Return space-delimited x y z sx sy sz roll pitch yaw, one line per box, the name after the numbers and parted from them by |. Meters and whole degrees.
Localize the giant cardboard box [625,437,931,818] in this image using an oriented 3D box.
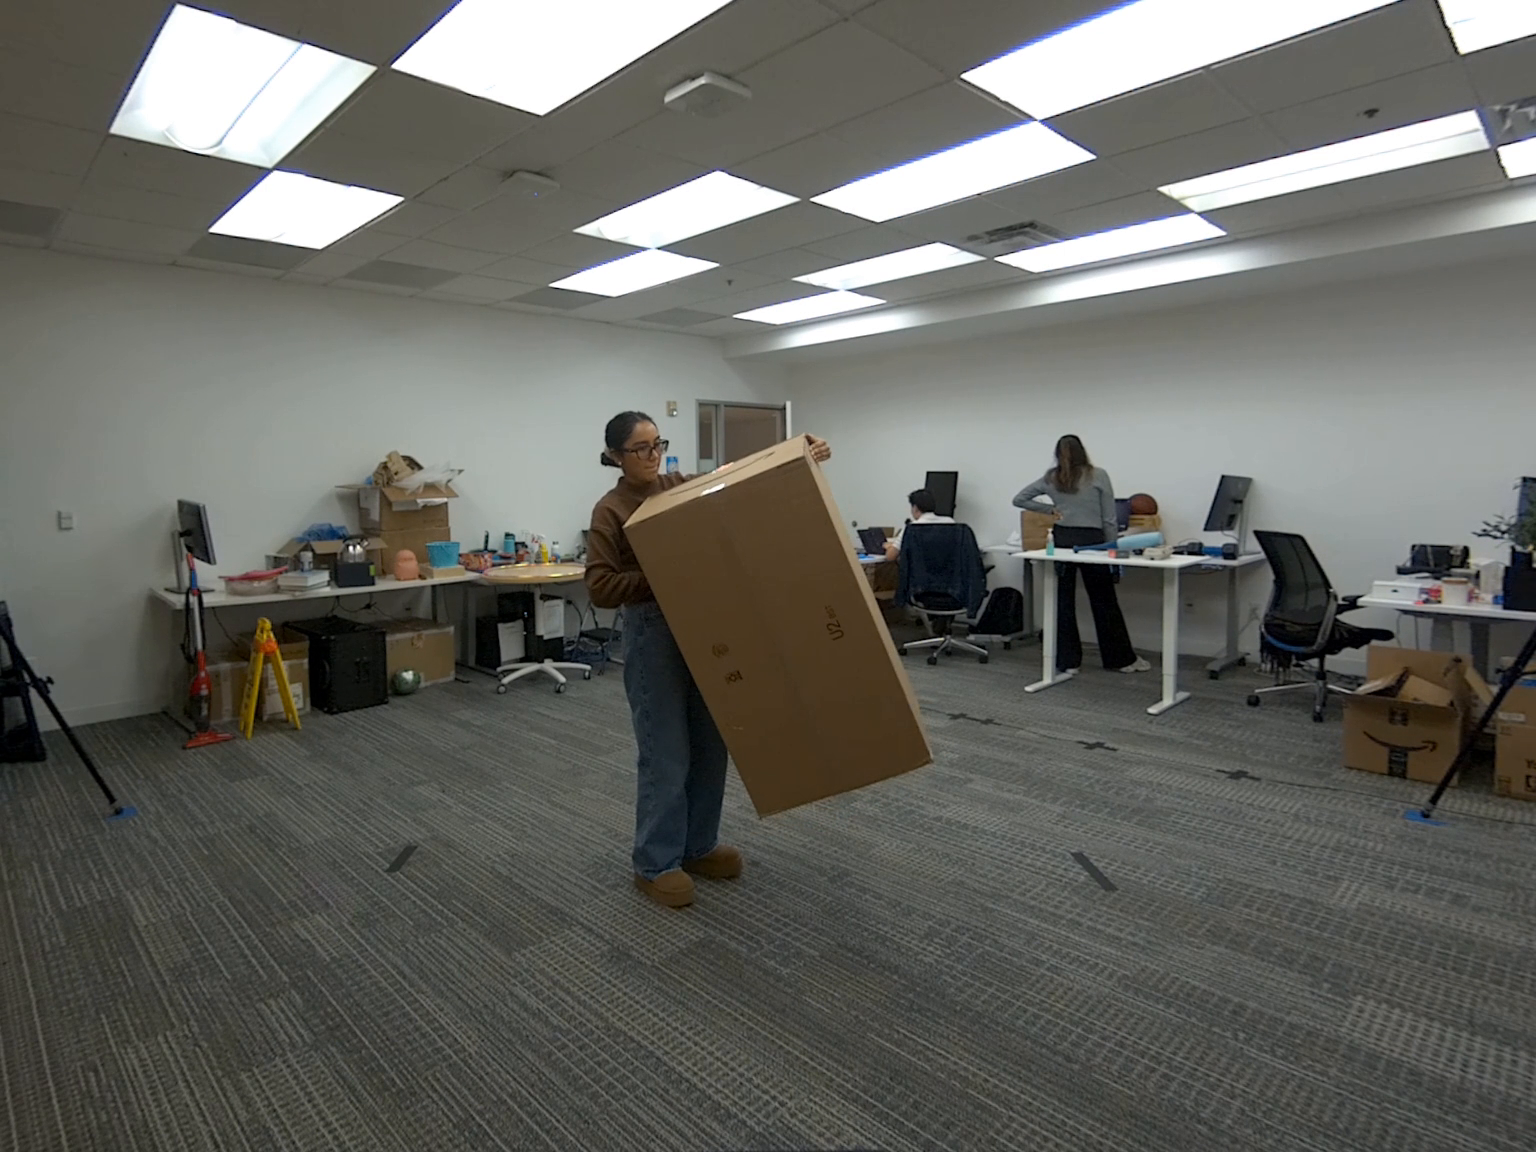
0.048 0.149 2.722 0.581 1.011 0.429 -22 12 12 | giant cardboard box
